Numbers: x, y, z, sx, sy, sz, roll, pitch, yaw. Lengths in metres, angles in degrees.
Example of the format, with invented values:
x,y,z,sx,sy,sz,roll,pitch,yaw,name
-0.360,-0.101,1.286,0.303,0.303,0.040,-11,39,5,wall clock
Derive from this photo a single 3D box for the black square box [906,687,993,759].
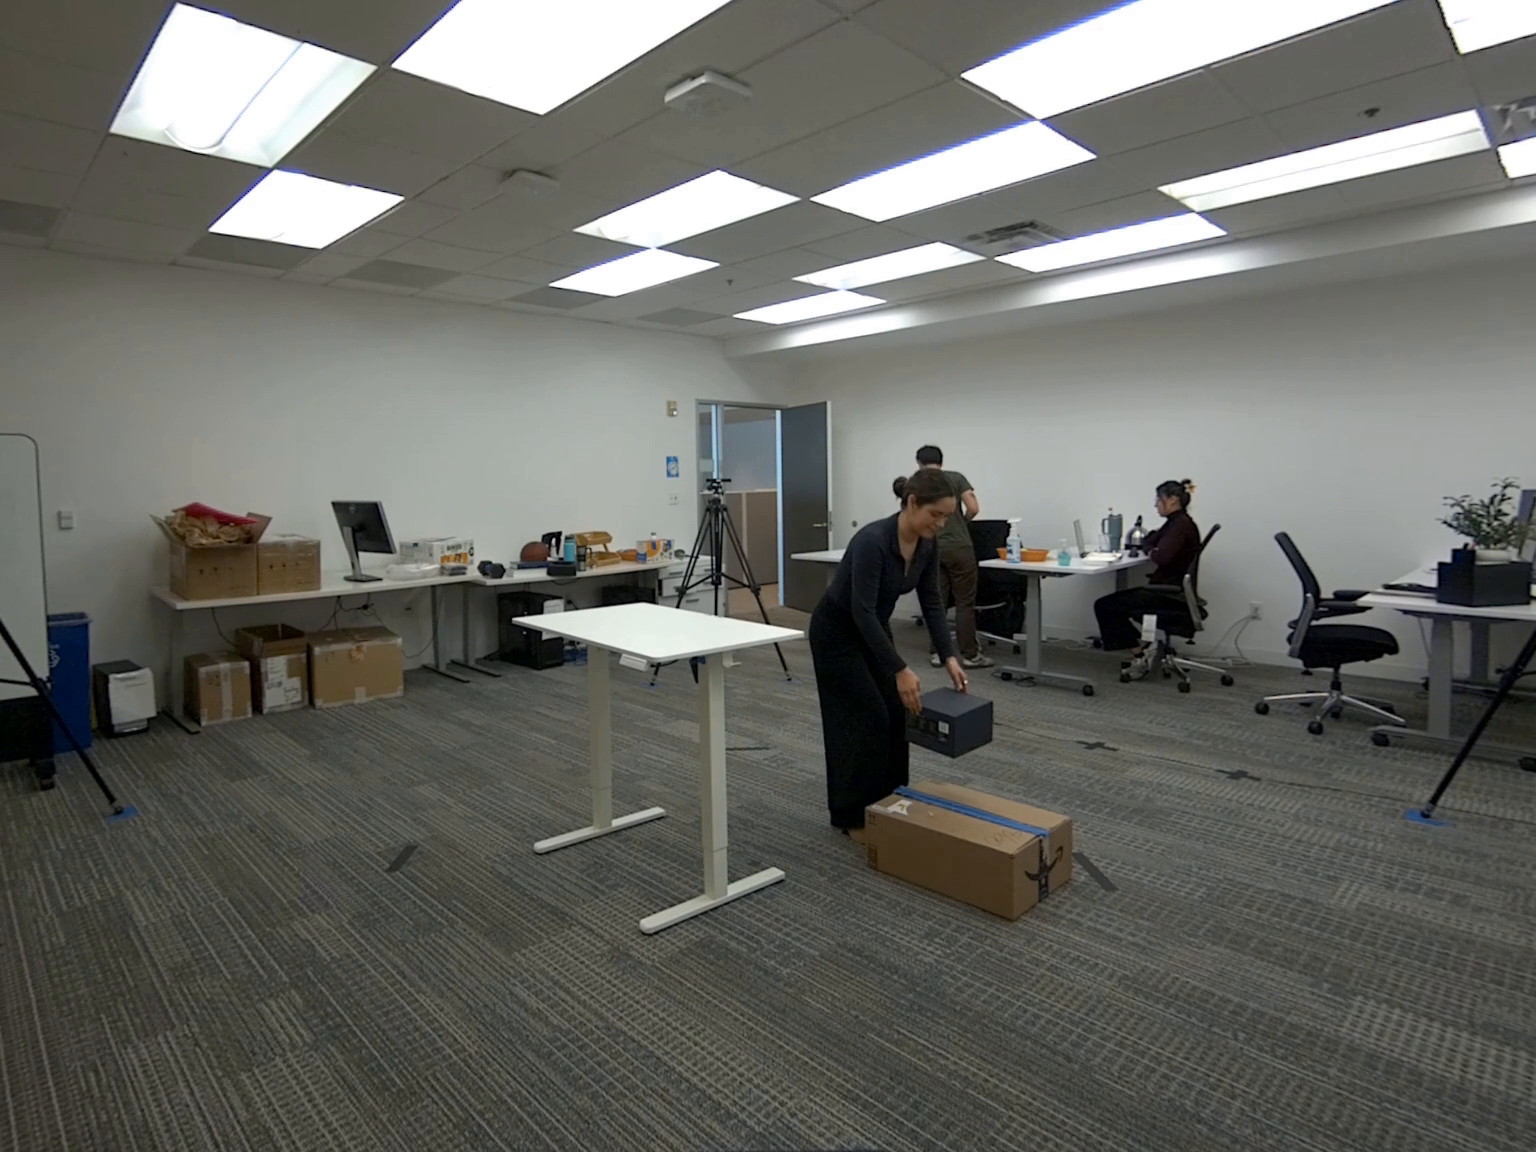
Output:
x,y,z,sx,sy,sz,roll,pitch,yaw,name
0.656,0.522,3.072,0.223,0.154,0.224,-11,14,-38,black square box
